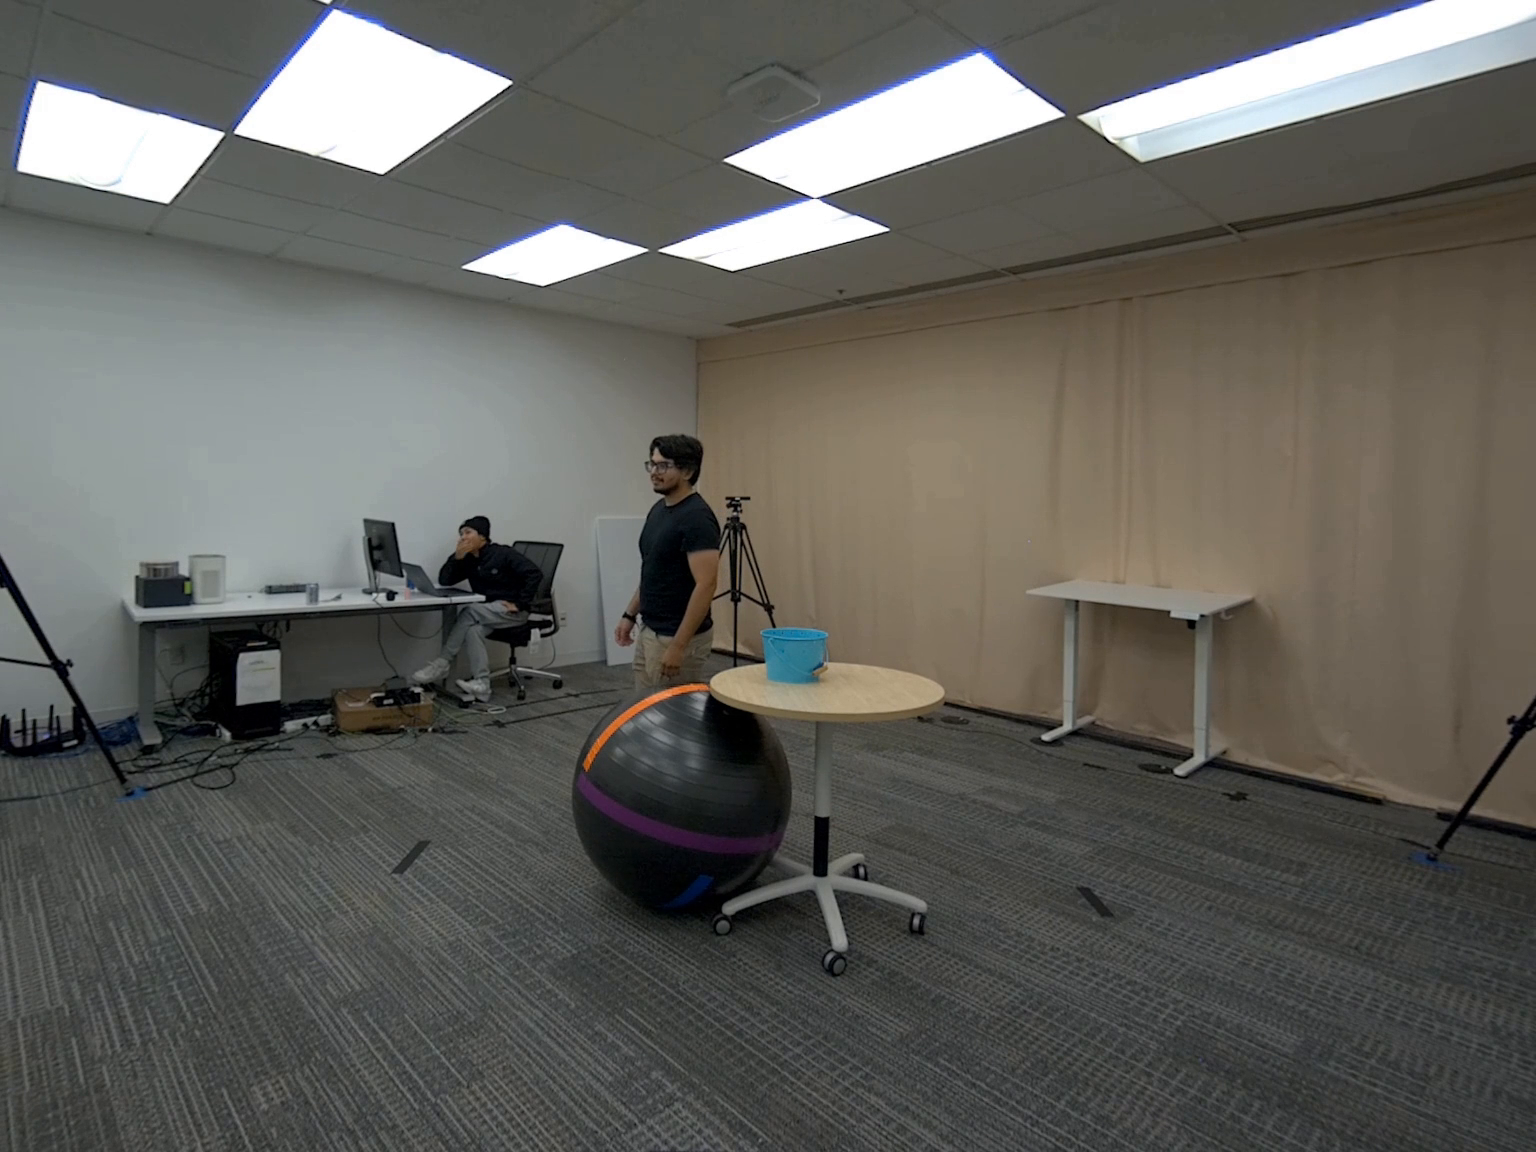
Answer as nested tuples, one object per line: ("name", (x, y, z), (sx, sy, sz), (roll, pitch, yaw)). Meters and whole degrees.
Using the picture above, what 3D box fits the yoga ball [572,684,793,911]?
("yoga ball", (-0.303, 0.749, 2.922), (0.757, 0.756, 0.761), (1, 4, -1))
